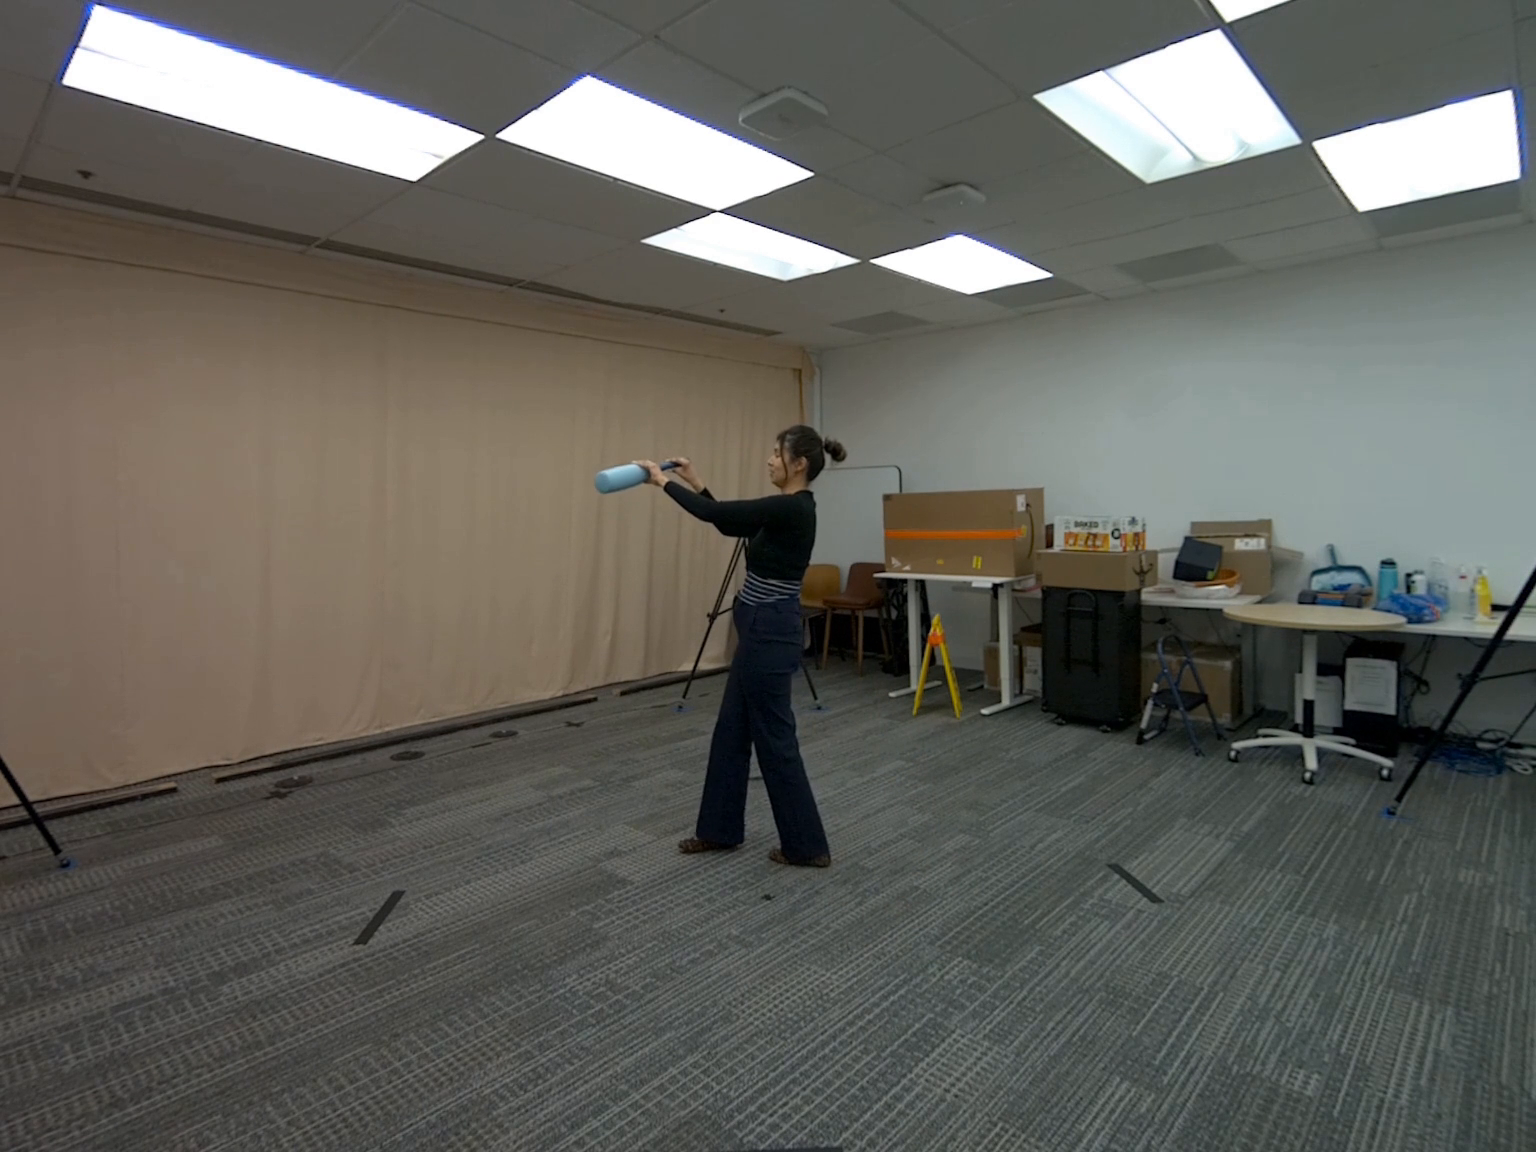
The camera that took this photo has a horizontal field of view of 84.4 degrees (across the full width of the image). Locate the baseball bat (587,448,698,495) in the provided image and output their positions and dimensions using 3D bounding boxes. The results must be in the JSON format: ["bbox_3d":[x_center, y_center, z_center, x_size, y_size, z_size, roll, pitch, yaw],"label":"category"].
[{"bbox_3d":[-0.476,-0.413,3.284,0.092,0.088,0.532,1,16,33],"label":"baseball bat"}]
